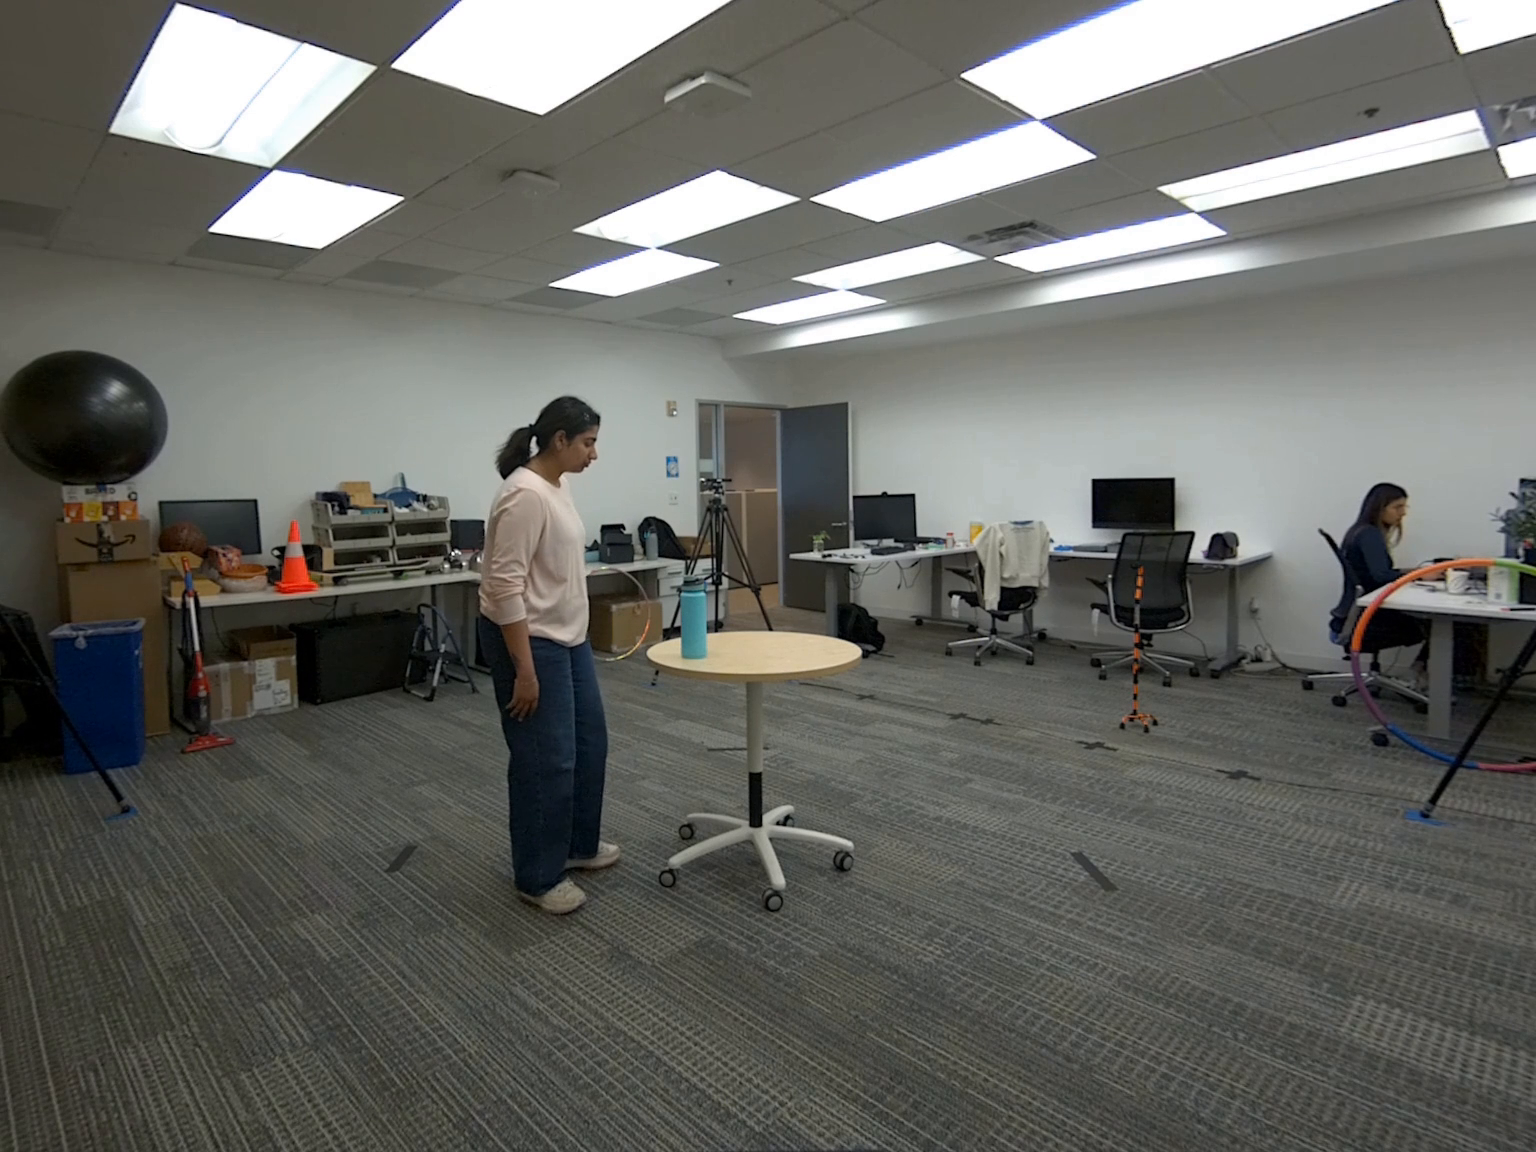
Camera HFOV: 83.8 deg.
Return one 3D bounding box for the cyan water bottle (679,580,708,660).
[{"bbox_3d":[-0.257,0.139,2.949,0.092,0.282,0.093,0,3,-2],"label":"cyan water bottle"}]
